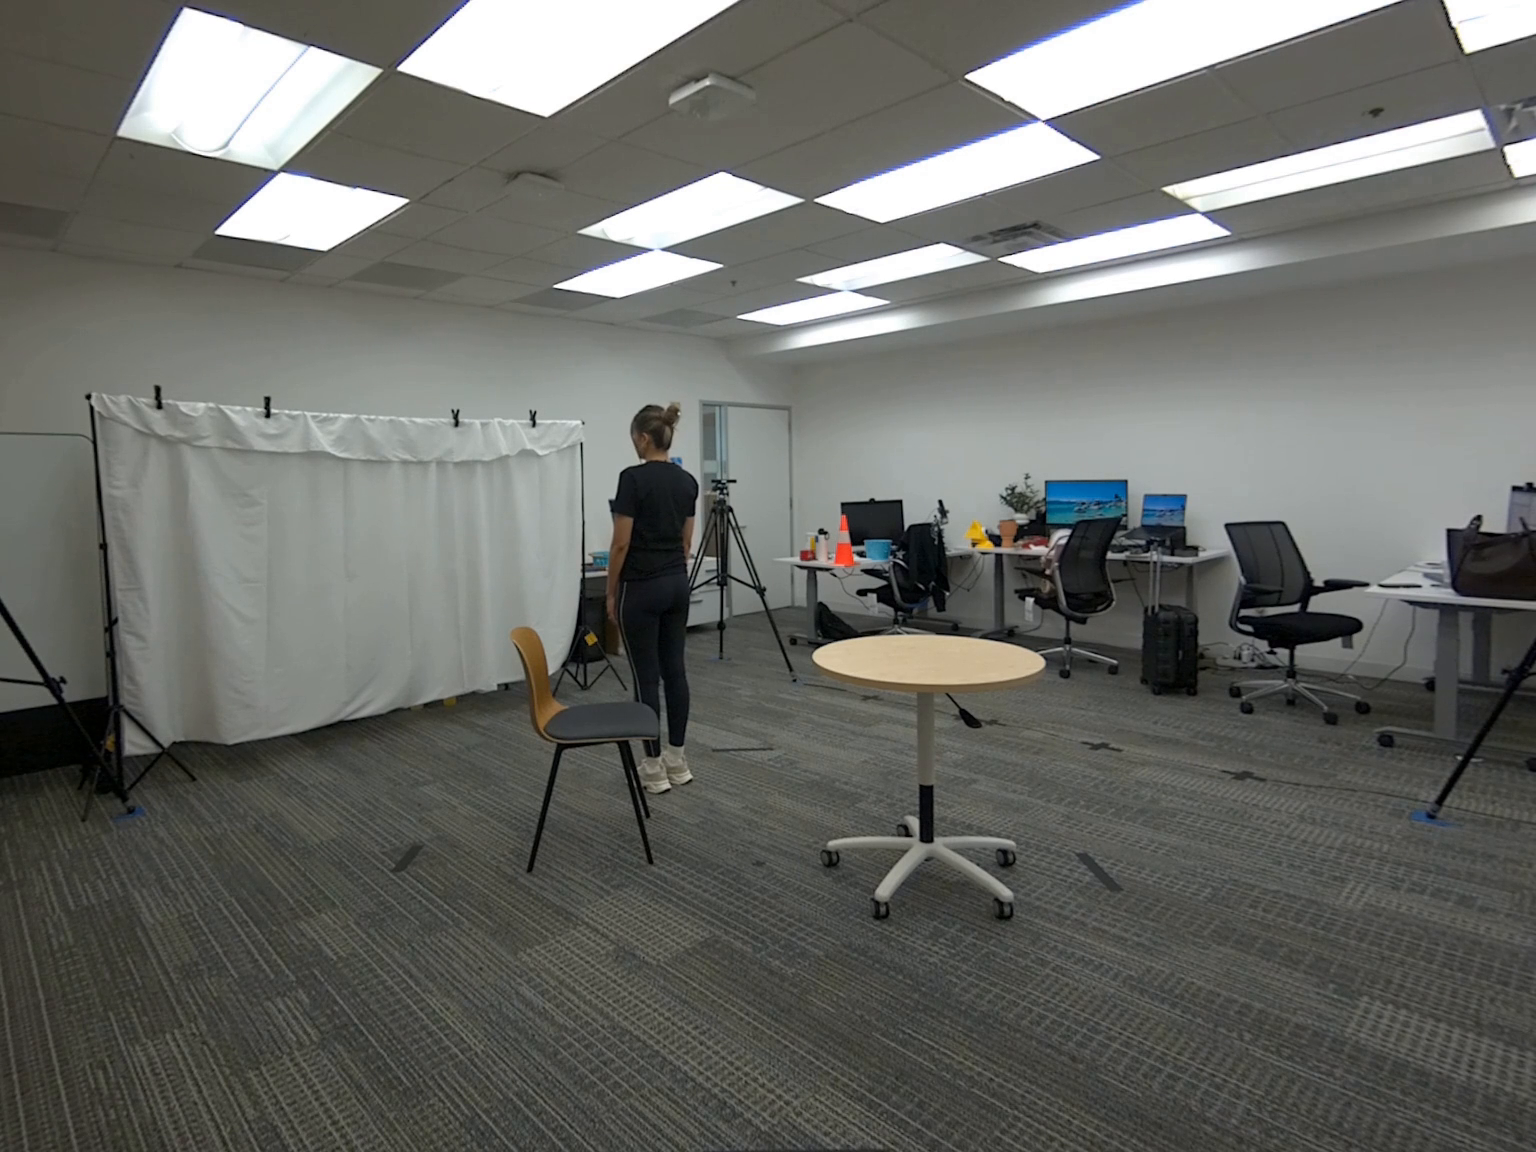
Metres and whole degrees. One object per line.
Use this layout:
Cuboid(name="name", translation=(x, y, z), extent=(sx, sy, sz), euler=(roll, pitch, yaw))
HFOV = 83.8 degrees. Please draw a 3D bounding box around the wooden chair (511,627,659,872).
Cuboid(name="wooden chair", translation=(-0.681, 0.615, 3.285), extent=(0.520, 0.874, 0.483), euler=(-5, 4, -8))
